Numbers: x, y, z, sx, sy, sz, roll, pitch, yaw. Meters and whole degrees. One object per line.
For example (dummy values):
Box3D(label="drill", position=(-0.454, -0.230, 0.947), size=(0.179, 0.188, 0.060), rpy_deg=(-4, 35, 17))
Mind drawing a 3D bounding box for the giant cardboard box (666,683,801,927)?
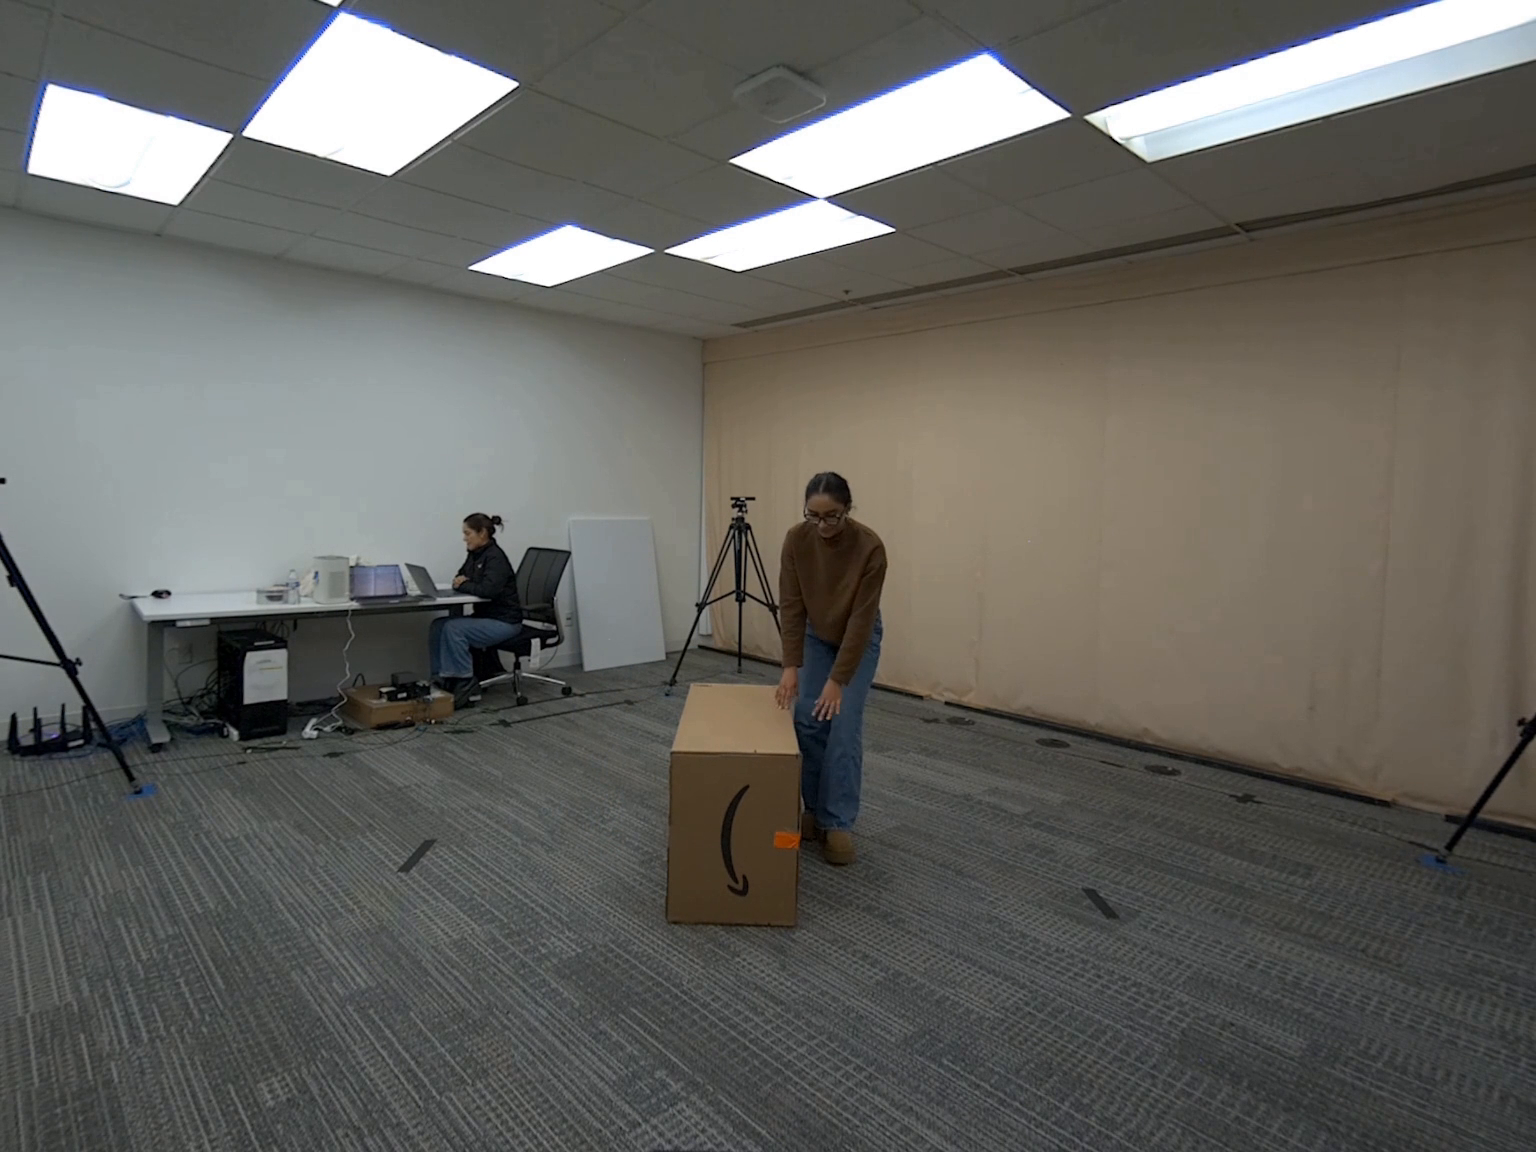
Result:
Box3D(label="giant cardboard box", position=(-0.132, 0.810, 3.230), size=(0.447, 0.582, 1.030), rpy_deg=(0, 5, -1))
